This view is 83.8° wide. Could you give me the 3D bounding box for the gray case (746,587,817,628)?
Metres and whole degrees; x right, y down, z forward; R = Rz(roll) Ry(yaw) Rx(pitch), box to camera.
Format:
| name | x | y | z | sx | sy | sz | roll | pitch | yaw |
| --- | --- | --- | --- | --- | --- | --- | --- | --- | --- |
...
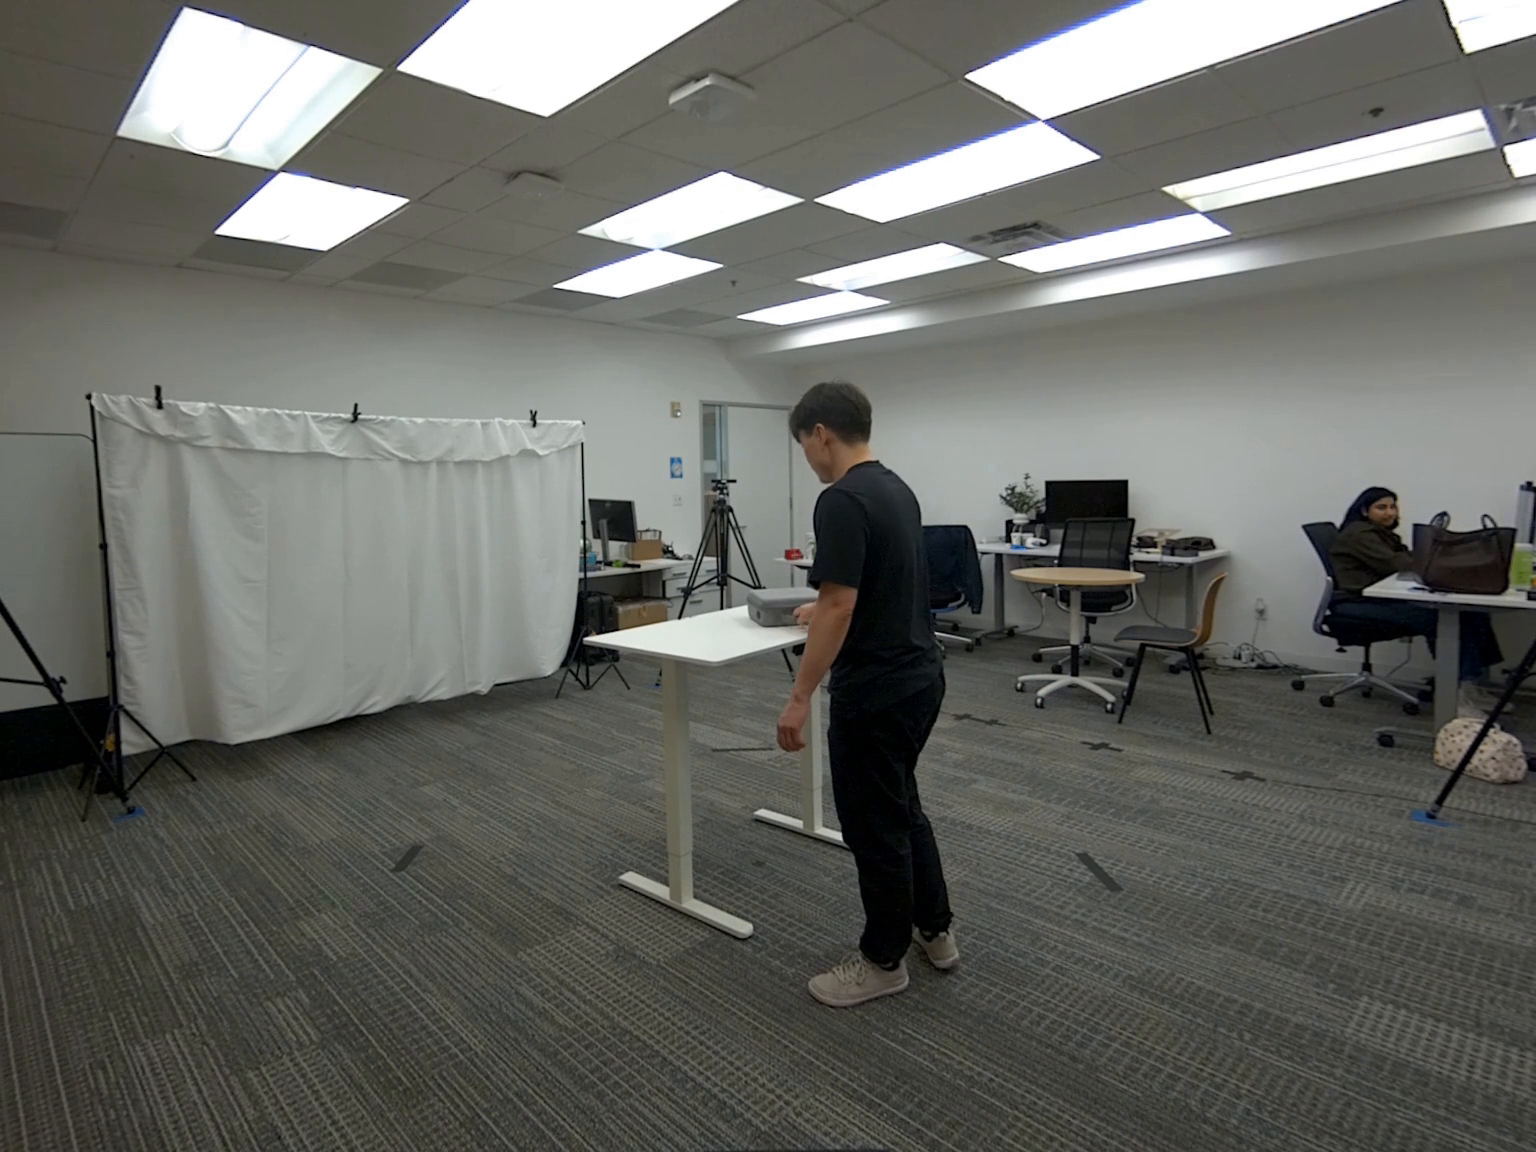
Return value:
| name | x | y | z | sx | sy | sz | roll | pitch | yaw |
| --- | --- | --- | --- | --- | --- | --- | --- | --- | --- |
| gray case | 0.073 | 0.111 | 3.092 | 0.254 | 0.104 | 0.265 | -2 | 7 | -13 |
